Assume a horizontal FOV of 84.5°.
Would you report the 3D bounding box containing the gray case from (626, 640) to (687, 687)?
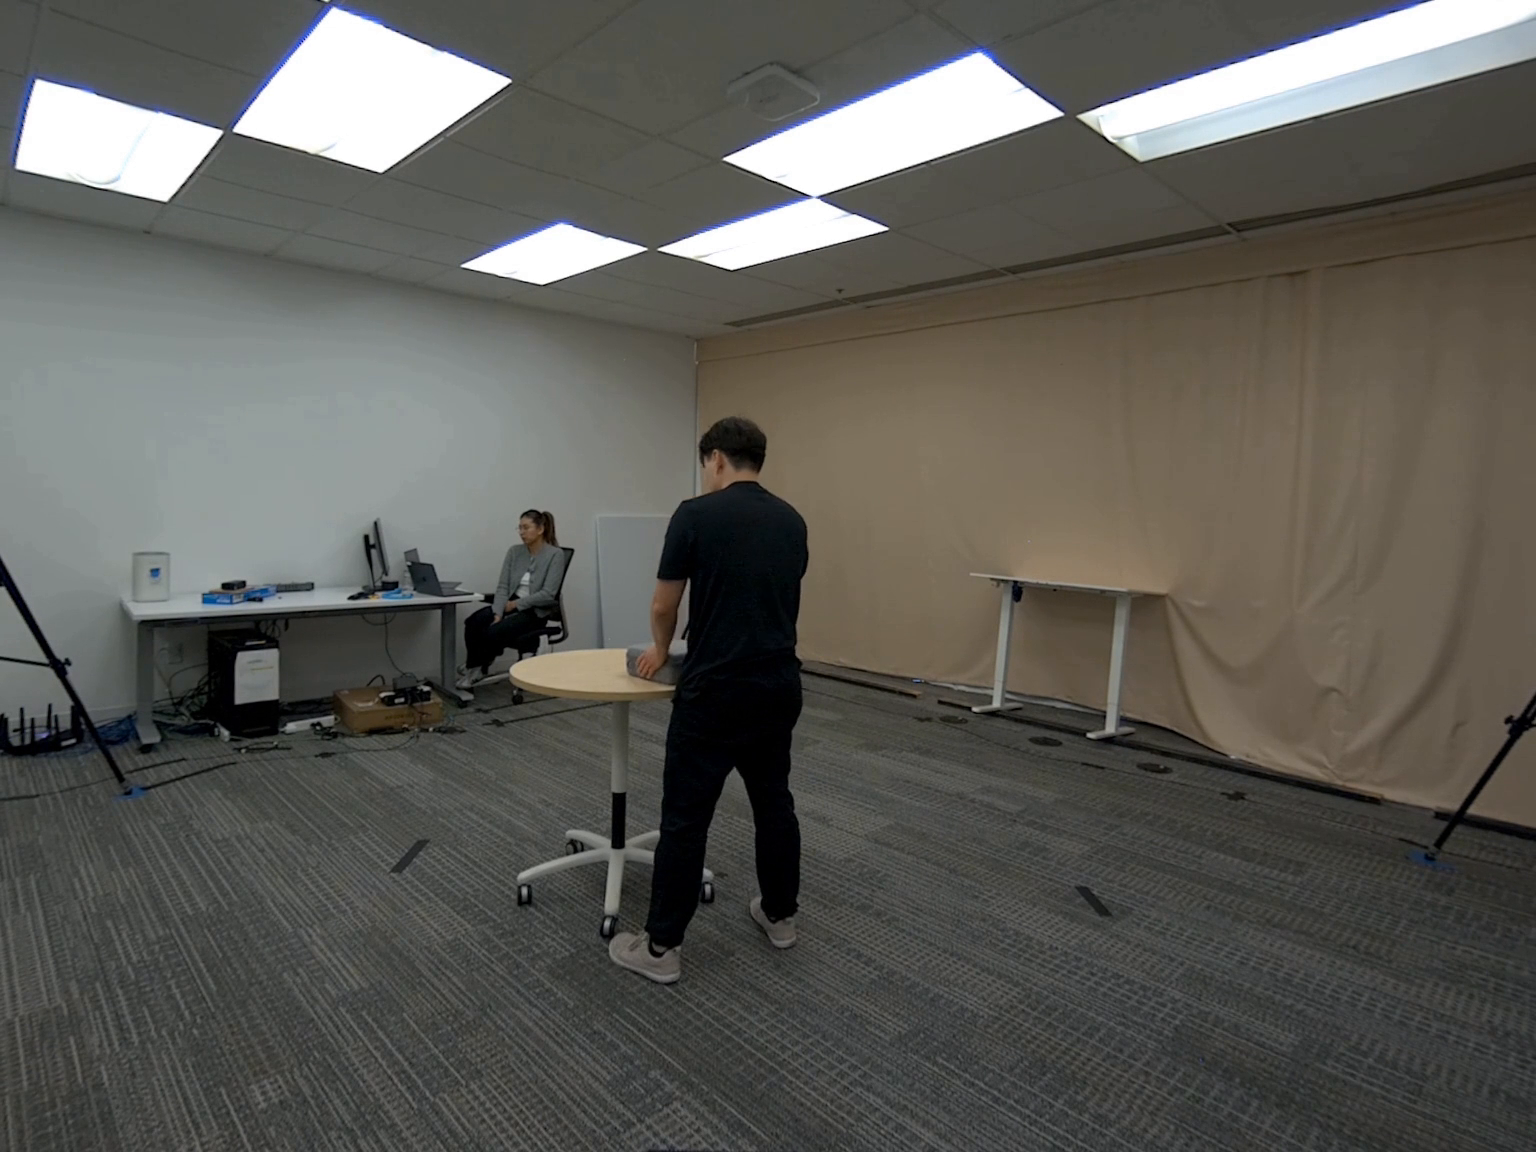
[{"bbox_3d":[-0.326,0.289,2.862,0.267,0.104,0.251,6,8,41],"label":"gray case"}]
